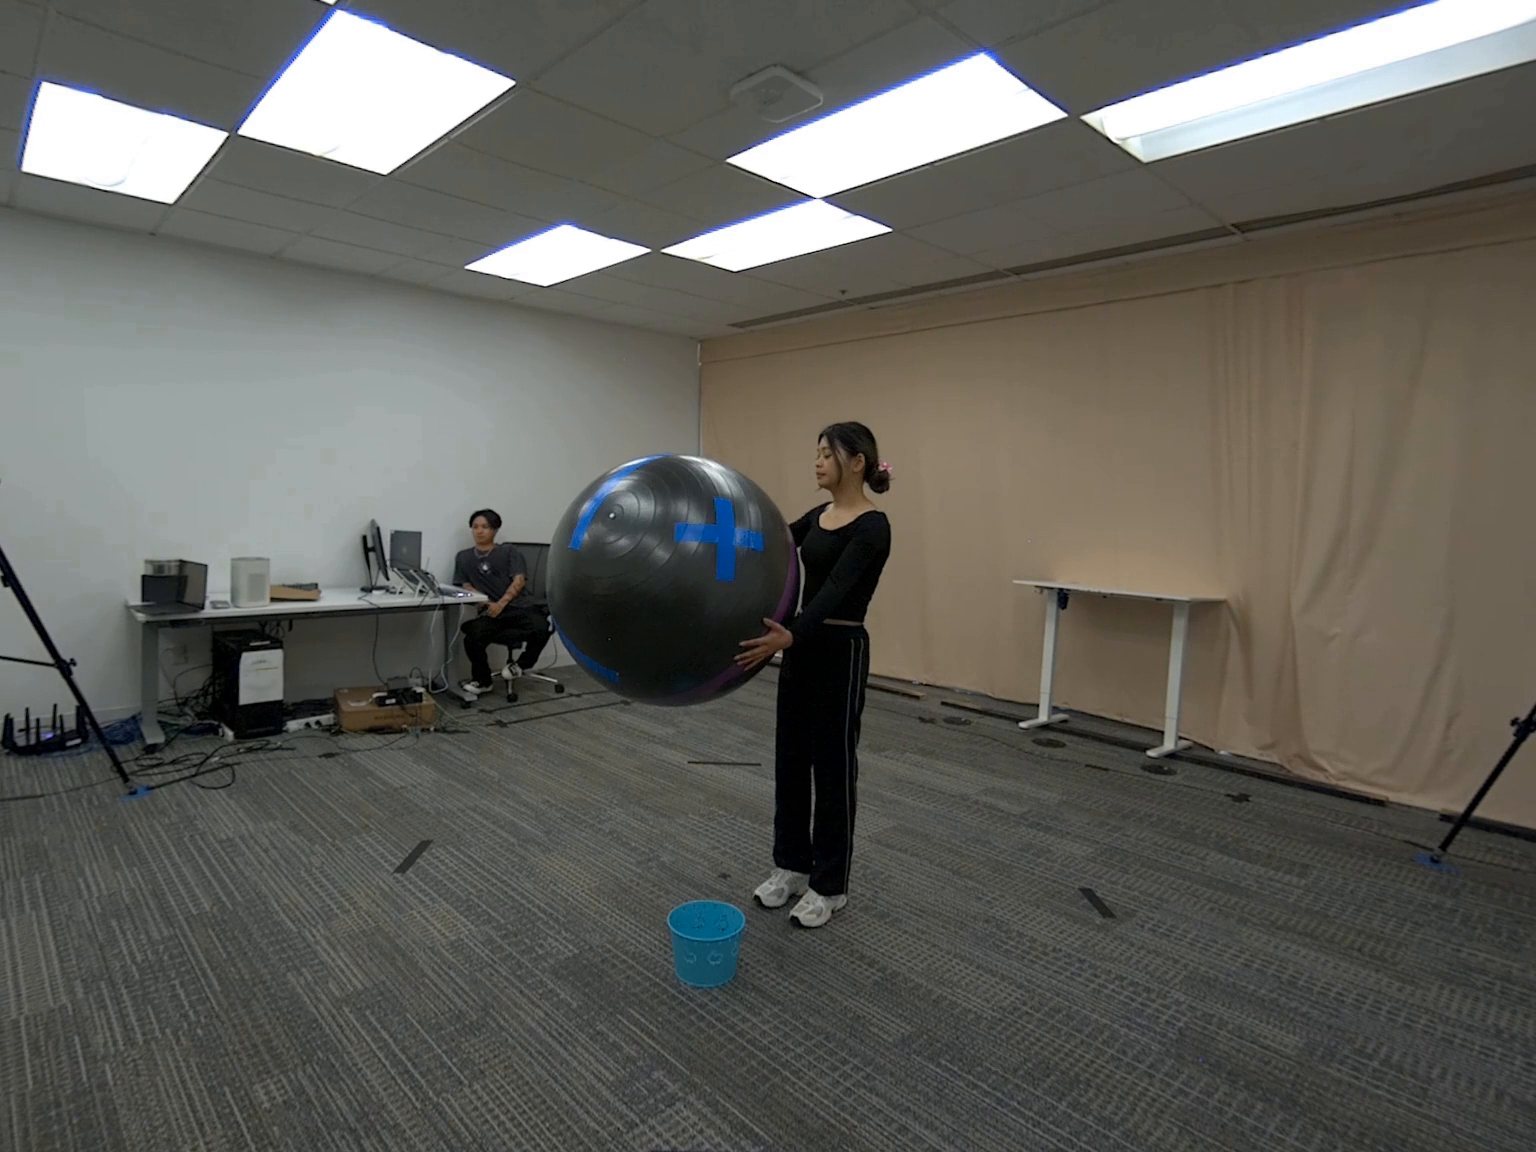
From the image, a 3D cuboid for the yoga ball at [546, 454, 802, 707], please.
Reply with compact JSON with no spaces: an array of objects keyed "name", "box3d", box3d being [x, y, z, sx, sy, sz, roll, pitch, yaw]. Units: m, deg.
[{"name":"yoga ball","box3d":[-0.290,0.014,2.527,0.757,0.756,0.761,1,4,-1]}]
